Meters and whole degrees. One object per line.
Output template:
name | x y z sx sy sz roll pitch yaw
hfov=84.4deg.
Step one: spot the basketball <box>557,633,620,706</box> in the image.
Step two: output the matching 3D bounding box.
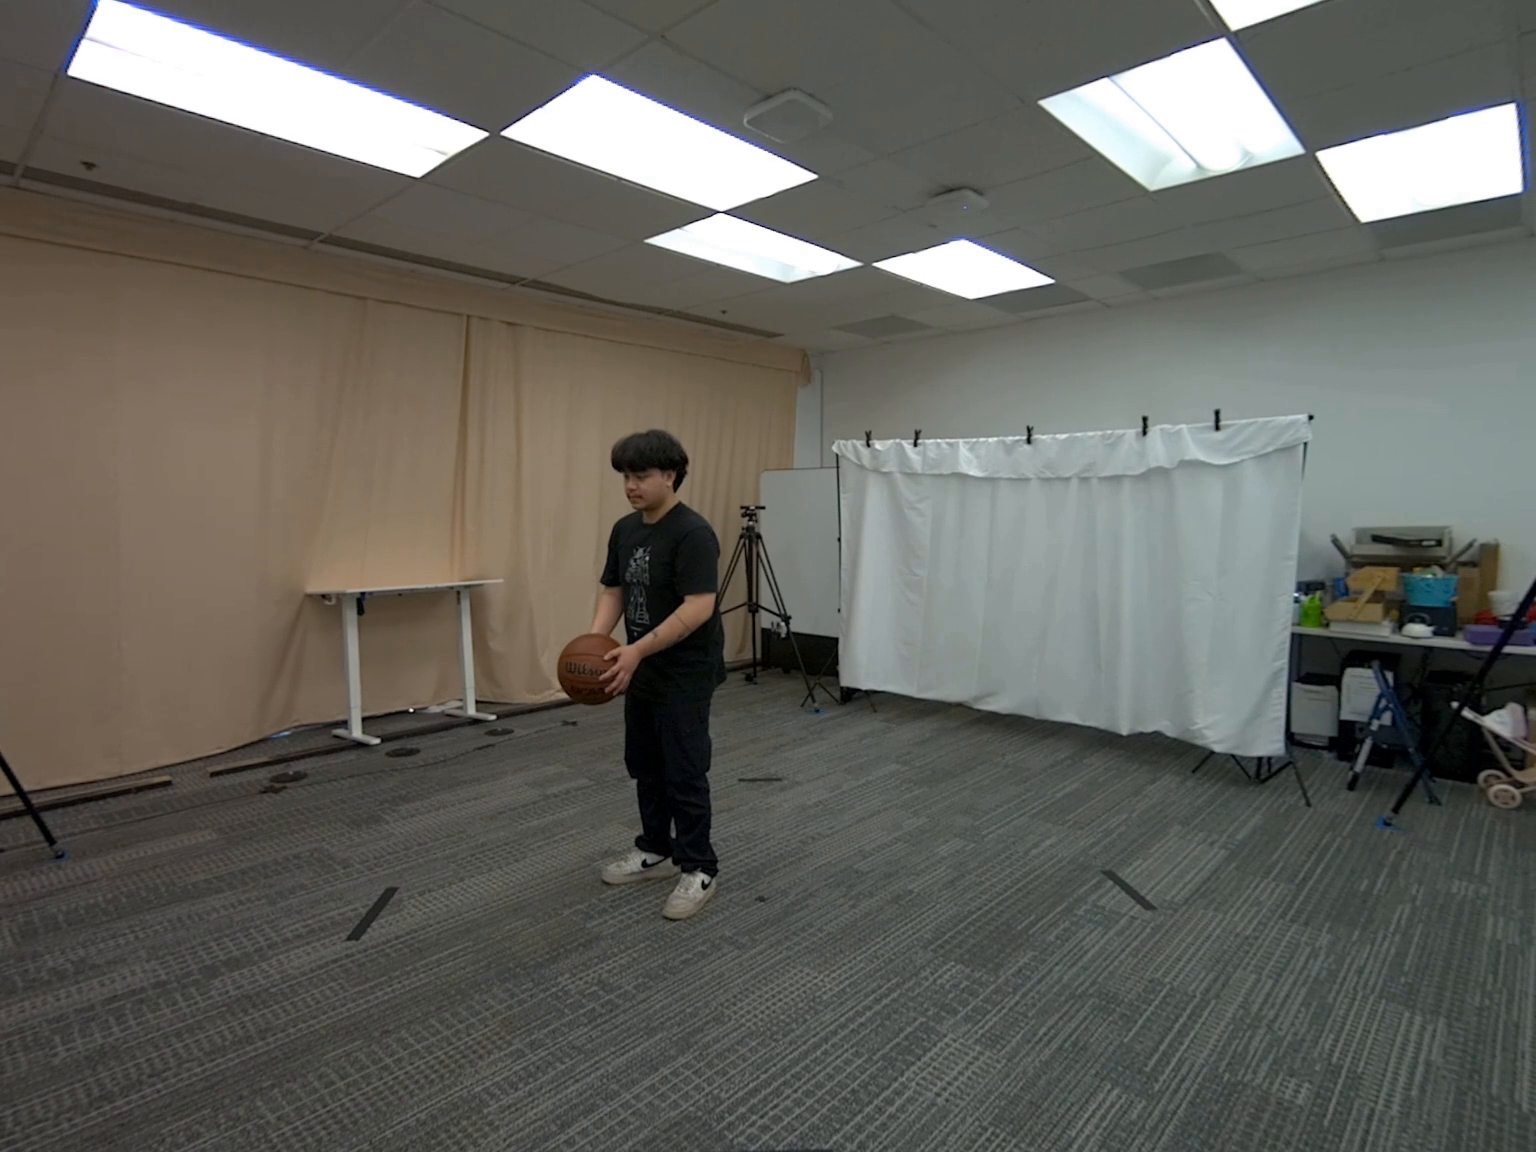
basketball | -0.586 0.307 2.812 0.236 0.235 0.237 0 4 -2
